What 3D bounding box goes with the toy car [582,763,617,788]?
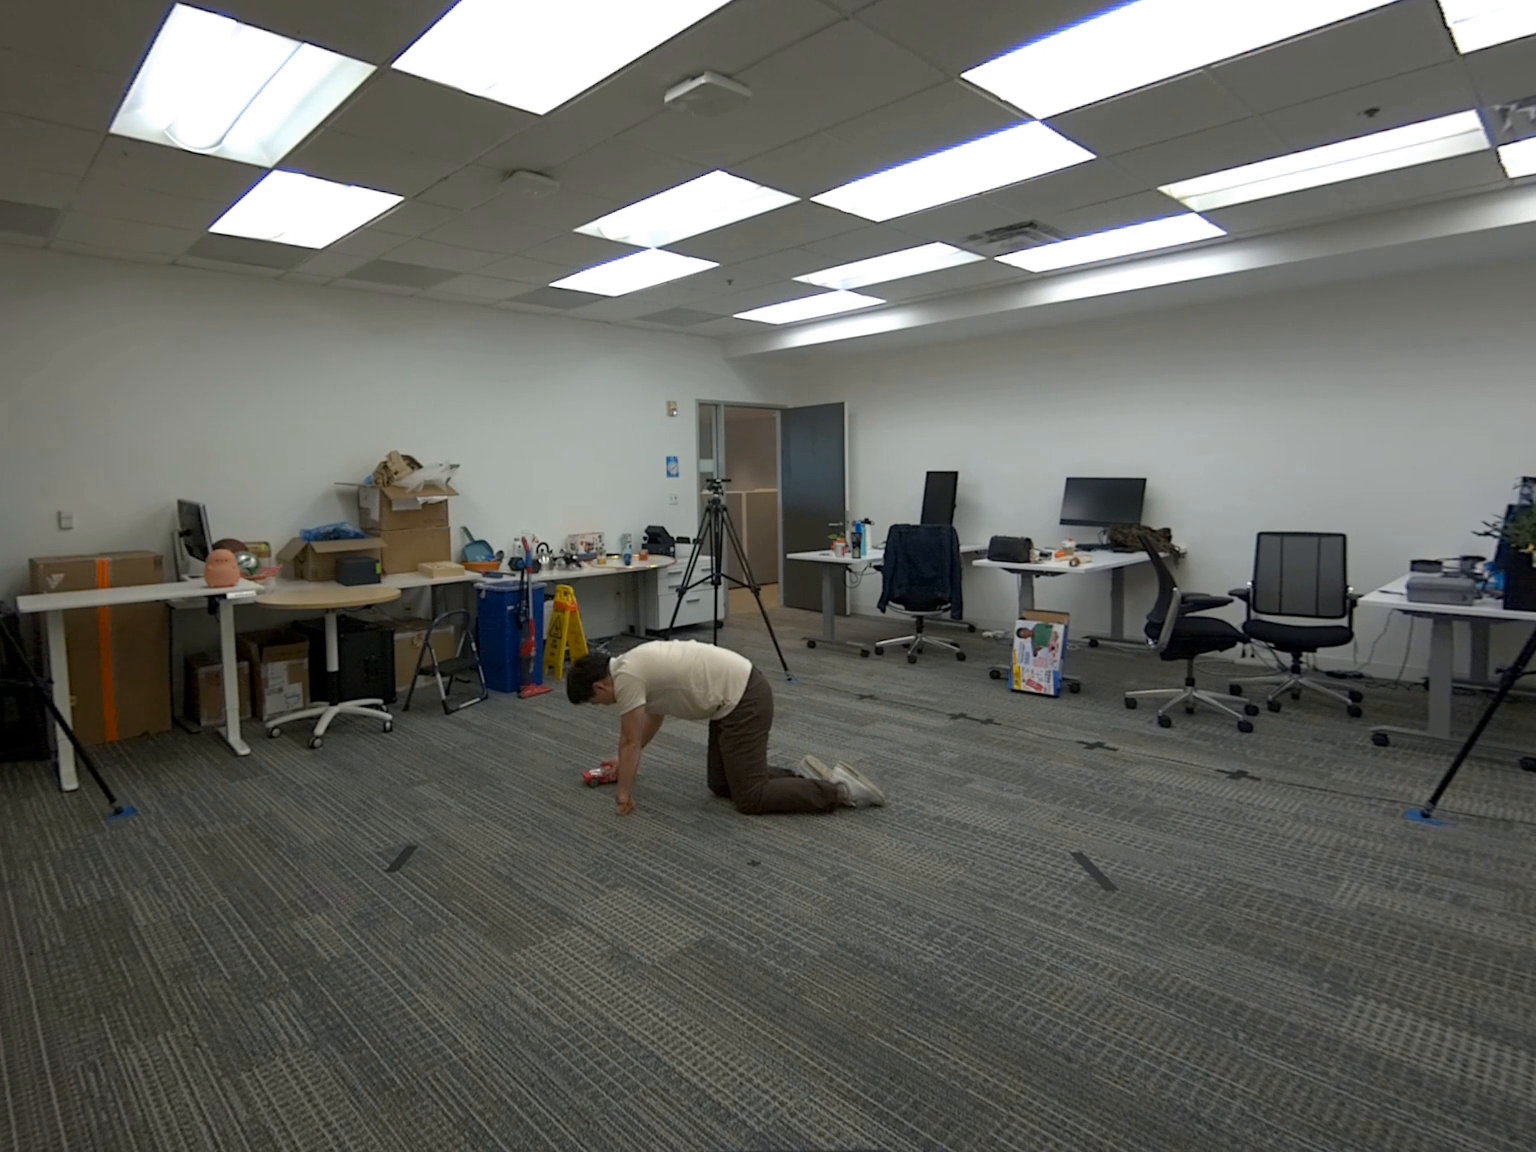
[{"bbox_3d":[-0.734,0.927,4.010,0.251,0.082,0.133,-13,10,-21],"label":"toy car"}]
